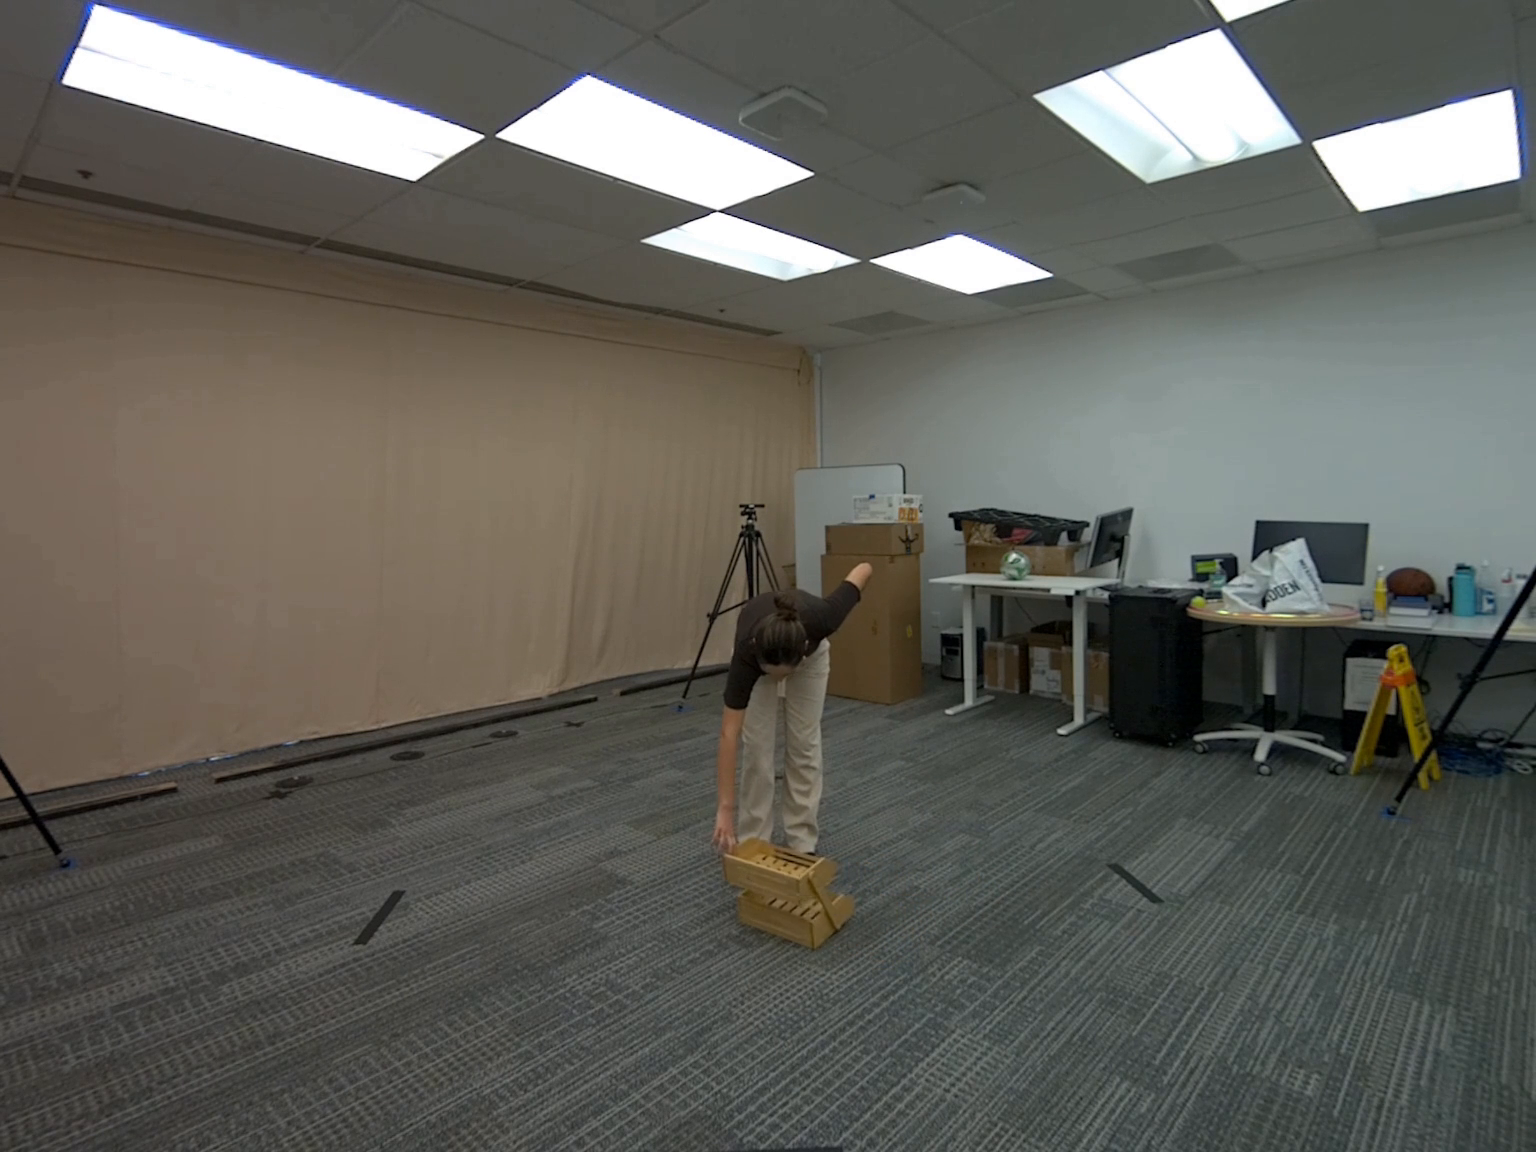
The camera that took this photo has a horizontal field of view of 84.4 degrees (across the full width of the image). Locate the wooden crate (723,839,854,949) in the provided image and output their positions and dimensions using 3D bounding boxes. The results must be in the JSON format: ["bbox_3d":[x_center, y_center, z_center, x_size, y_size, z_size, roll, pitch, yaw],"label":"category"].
[{"bbox_3d":[0.066,1.008,2.780,0.335,0.272,0.294,2,11,38],"label":"wooden crate"}]
